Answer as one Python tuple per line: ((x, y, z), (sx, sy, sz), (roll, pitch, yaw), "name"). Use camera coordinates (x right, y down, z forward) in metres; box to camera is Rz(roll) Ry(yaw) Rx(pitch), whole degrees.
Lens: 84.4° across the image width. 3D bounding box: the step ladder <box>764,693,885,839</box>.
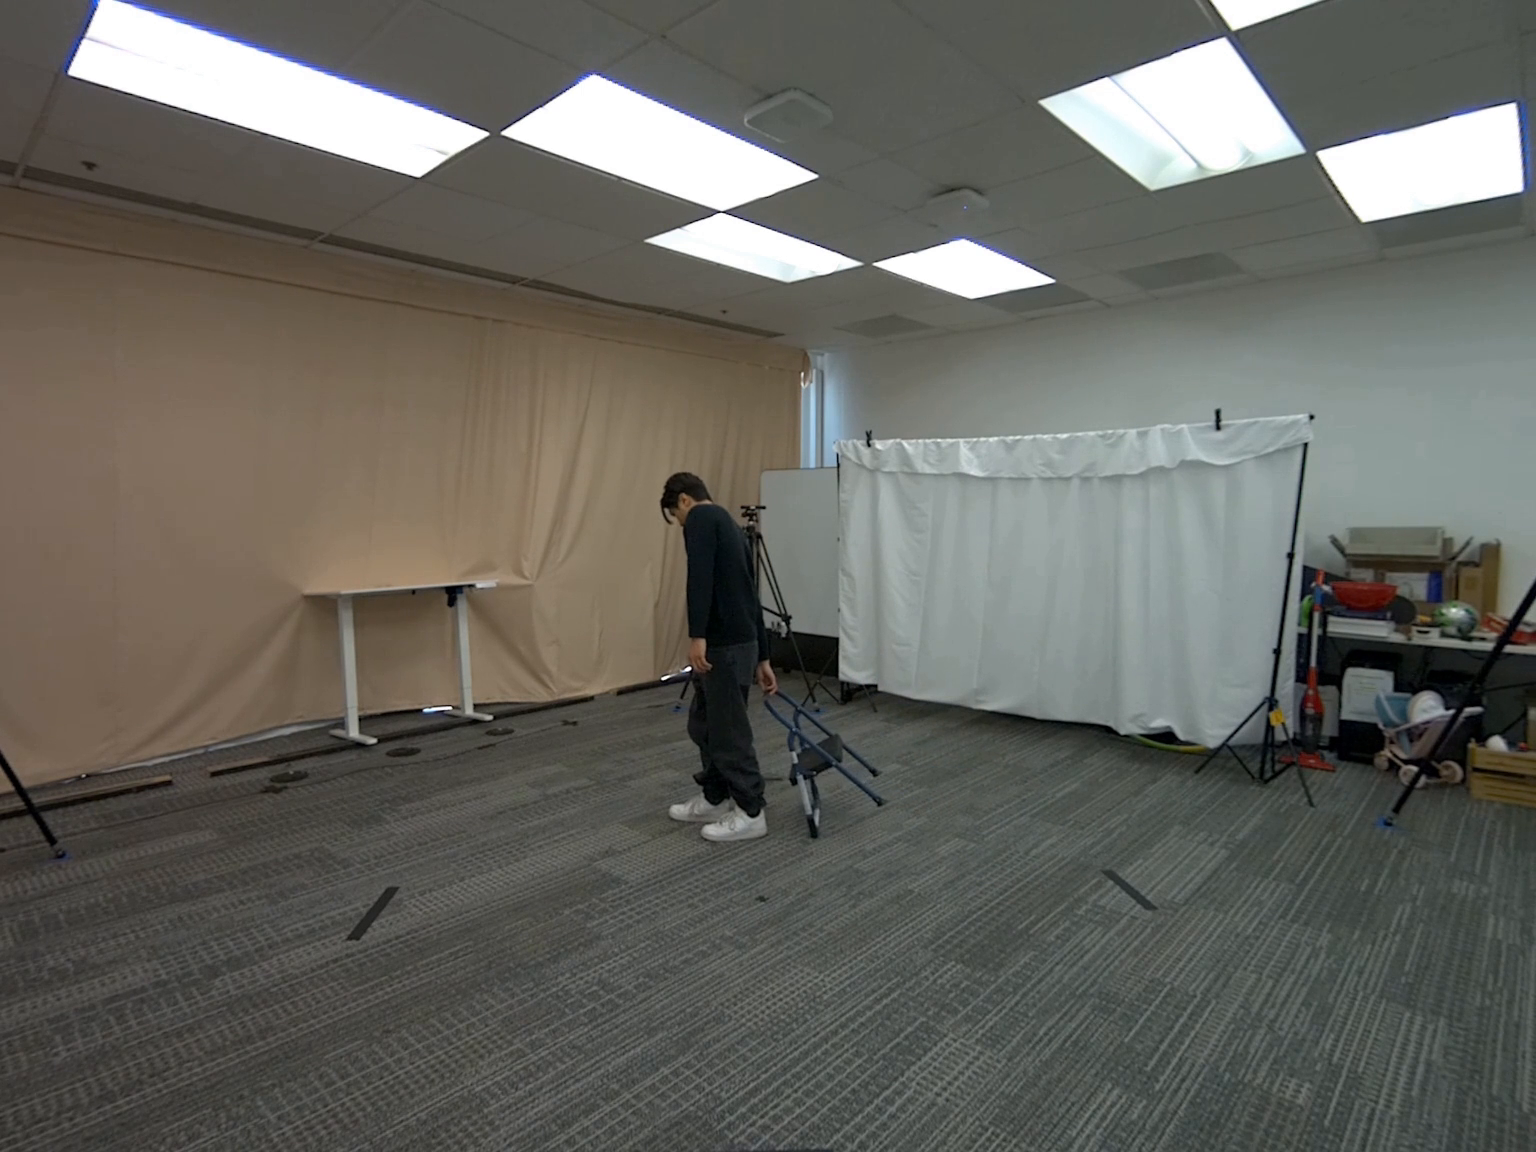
((0.204, 0.747, 3.718), (0.351, 0.607, 0.428), (-30, -1, 6), "step ladder")
